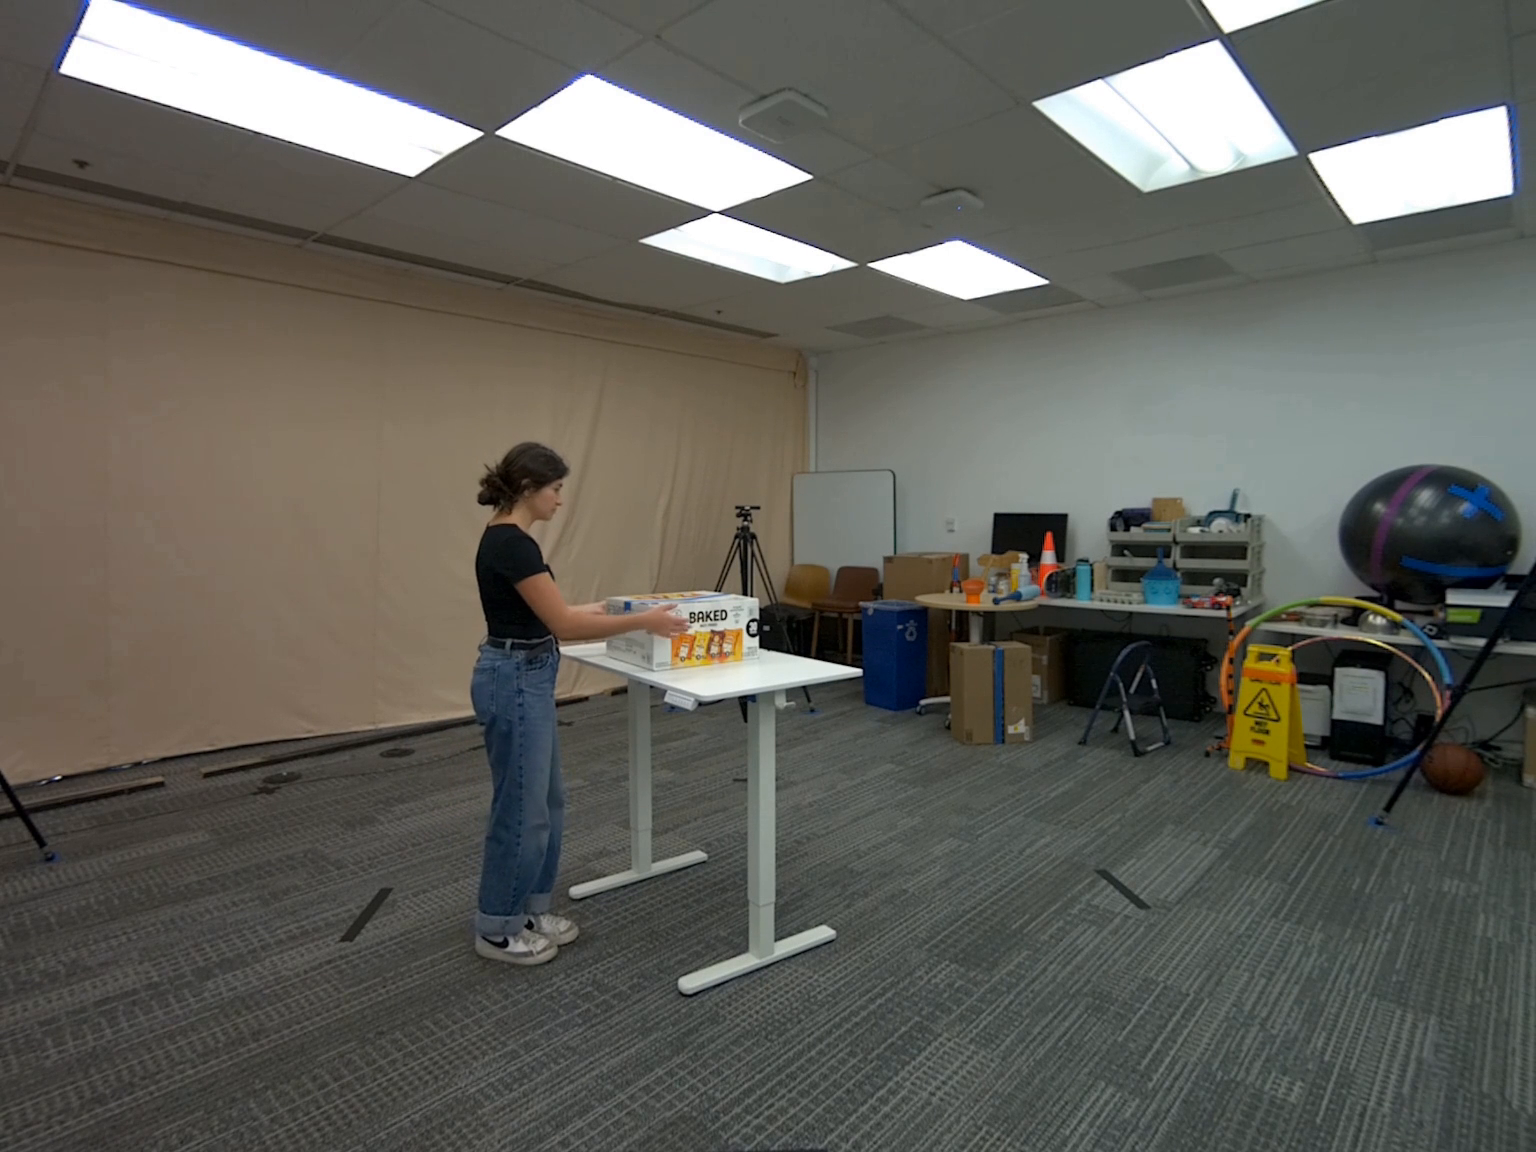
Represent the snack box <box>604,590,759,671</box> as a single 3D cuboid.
[{"bbox_3d":[-0.286,0.175,2.835,0.393,0.205,0.351,-3,5,-36],"label":"snack box"}]
